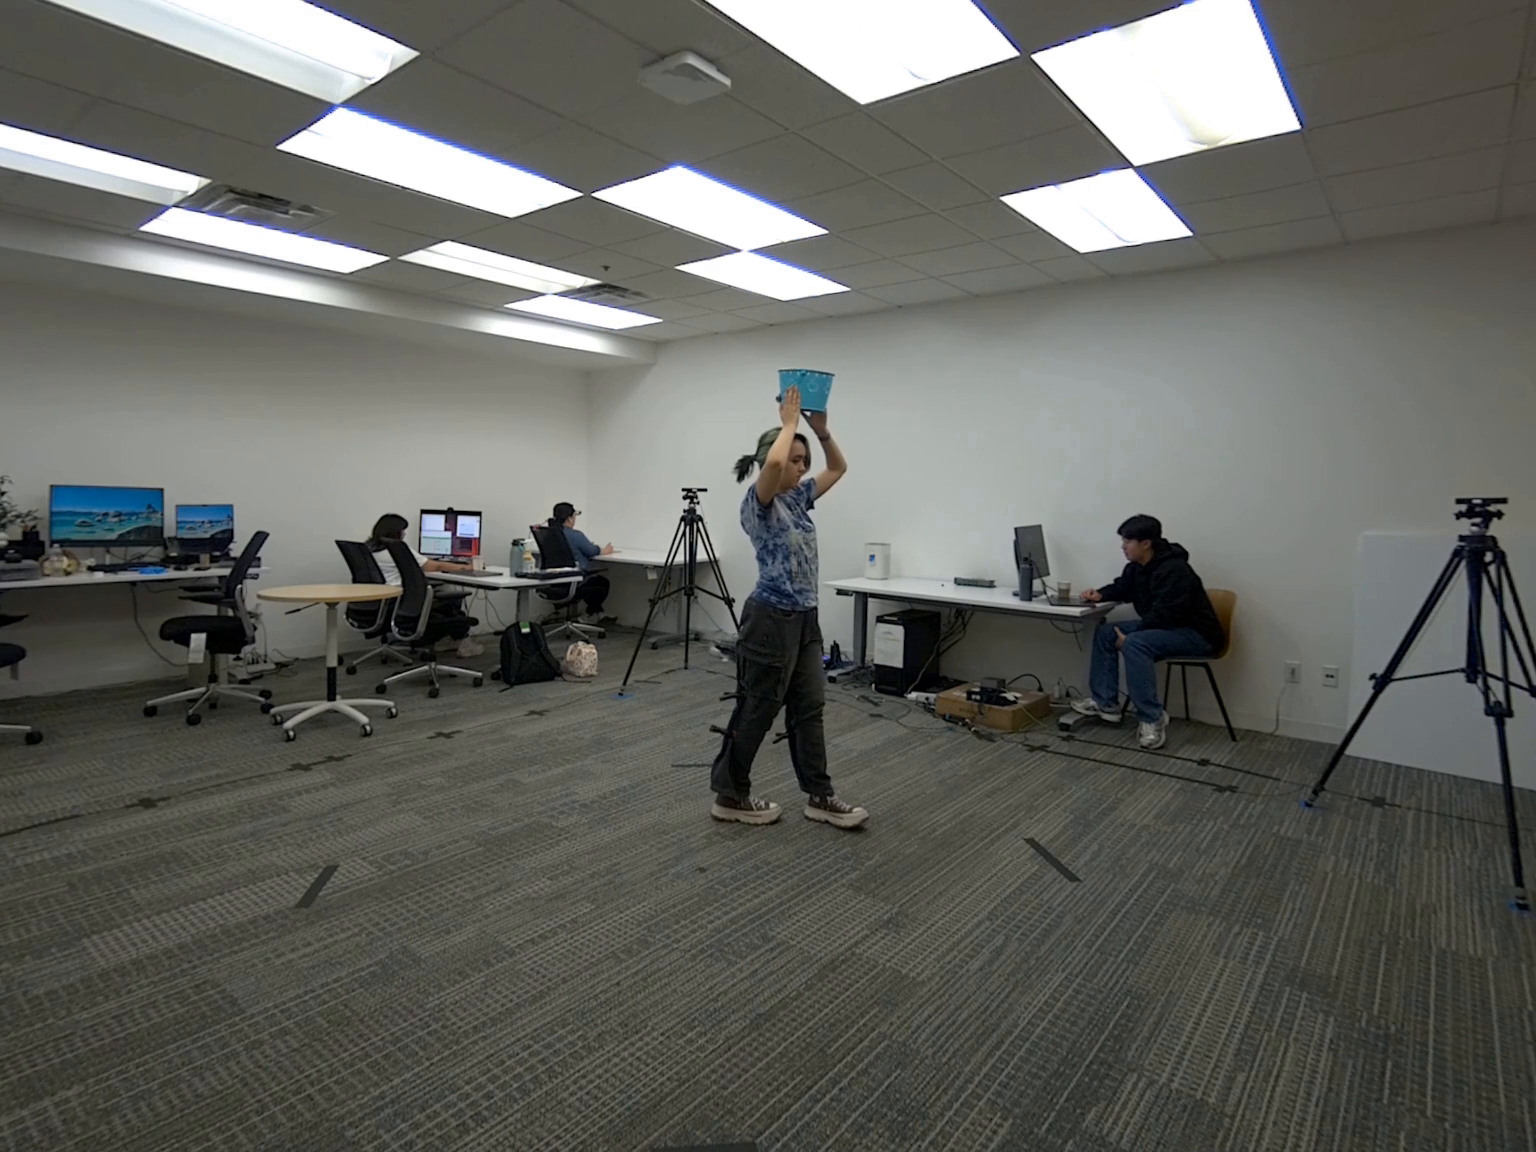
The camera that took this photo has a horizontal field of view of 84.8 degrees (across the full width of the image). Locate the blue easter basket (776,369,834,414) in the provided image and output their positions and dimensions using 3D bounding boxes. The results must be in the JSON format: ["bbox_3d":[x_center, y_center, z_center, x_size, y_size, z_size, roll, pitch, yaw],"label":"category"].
[{"bbox_3d":[0.145,-0.764,3.478,0.243,0.155,0.246,7,8,-3],"label":"blue easter basket"}]
